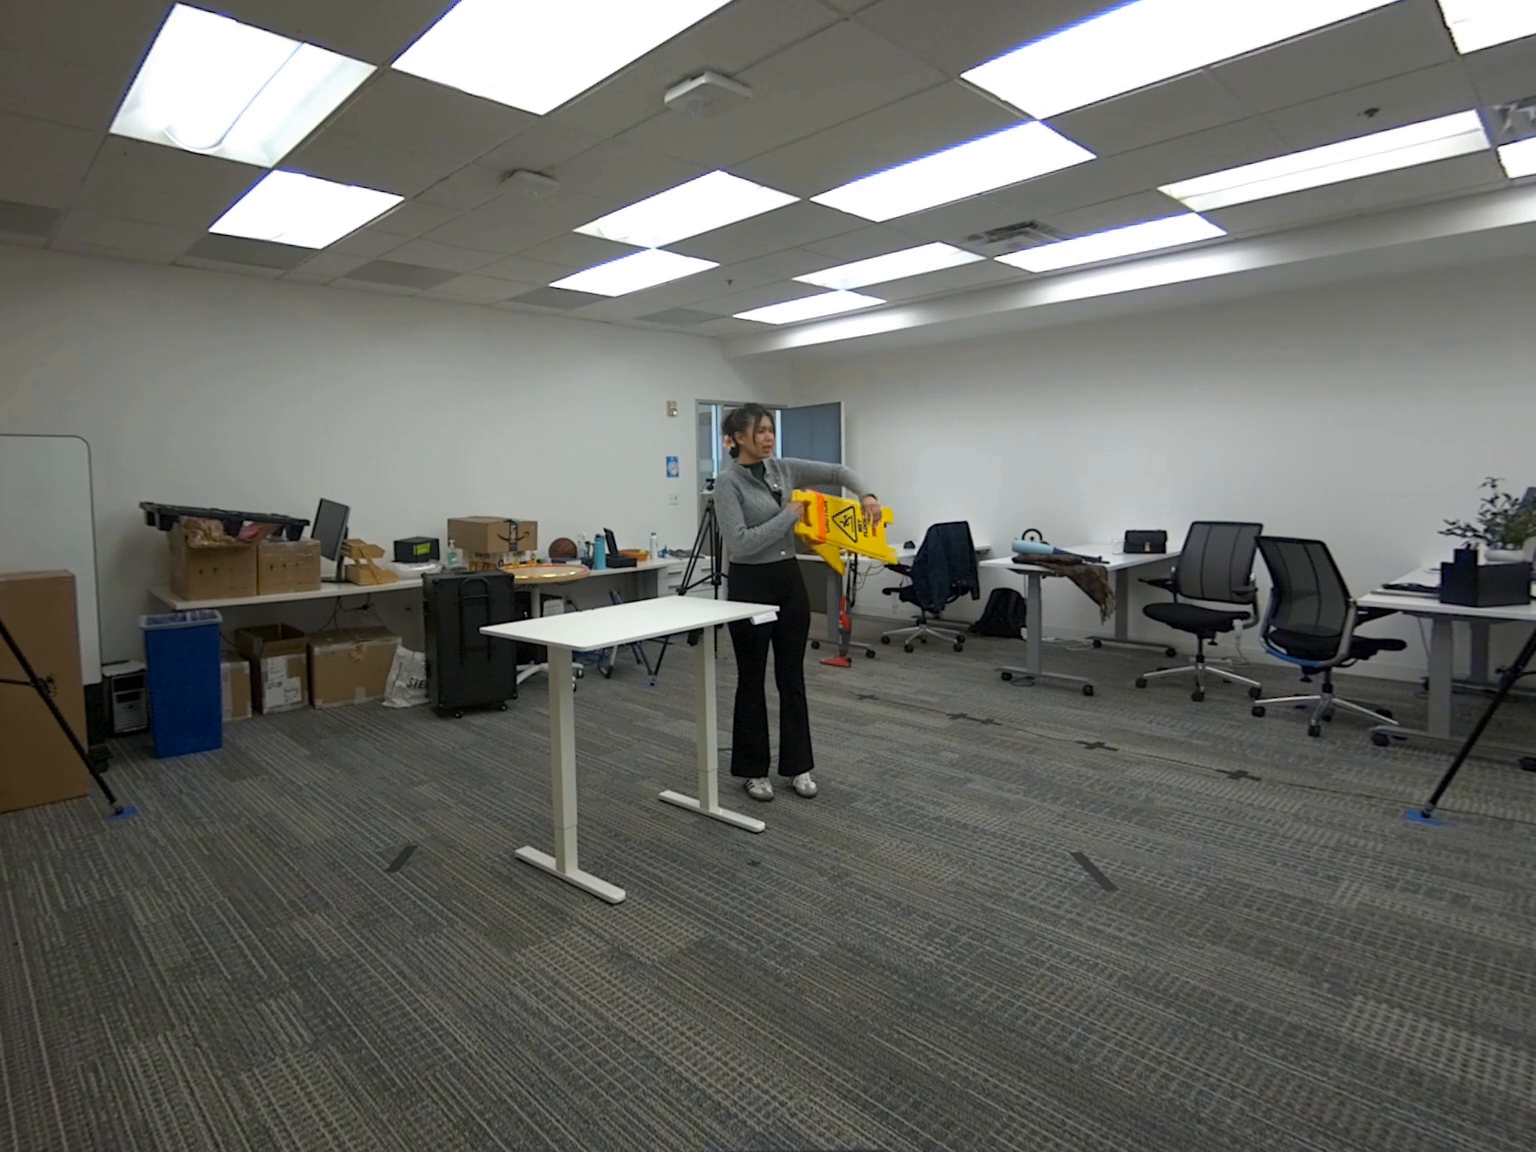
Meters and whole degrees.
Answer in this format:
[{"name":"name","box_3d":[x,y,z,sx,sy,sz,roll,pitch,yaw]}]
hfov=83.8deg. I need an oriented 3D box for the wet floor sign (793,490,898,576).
[{"name":"wet floor sign","box_3d":[0.302,-0.218,3.914,0.295,0.287,0.623,-14,-21,34]}]
